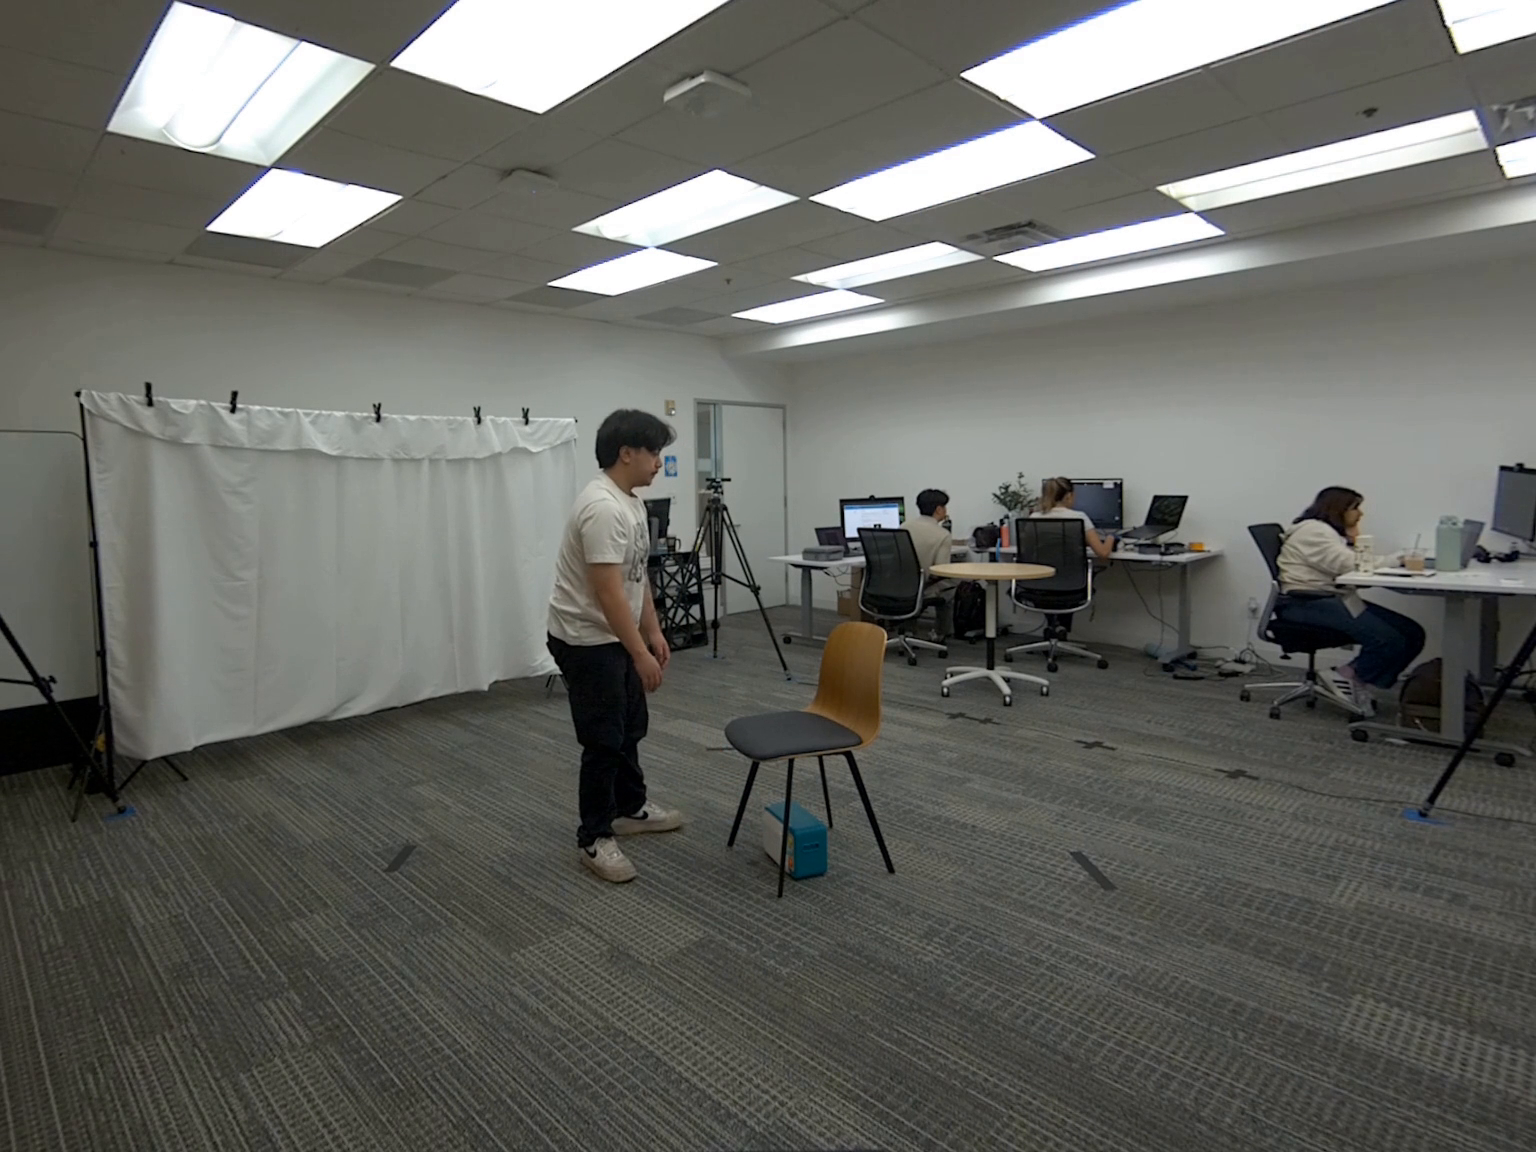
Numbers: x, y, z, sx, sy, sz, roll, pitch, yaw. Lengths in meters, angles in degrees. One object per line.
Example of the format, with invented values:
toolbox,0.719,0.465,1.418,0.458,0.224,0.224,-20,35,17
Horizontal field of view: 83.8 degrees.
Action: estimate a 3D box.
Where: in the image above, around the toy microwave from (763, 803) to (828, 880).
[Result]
toy microwave,0.088,0.946,3.082,0.149,0.183,0.293,-3,6,-24
